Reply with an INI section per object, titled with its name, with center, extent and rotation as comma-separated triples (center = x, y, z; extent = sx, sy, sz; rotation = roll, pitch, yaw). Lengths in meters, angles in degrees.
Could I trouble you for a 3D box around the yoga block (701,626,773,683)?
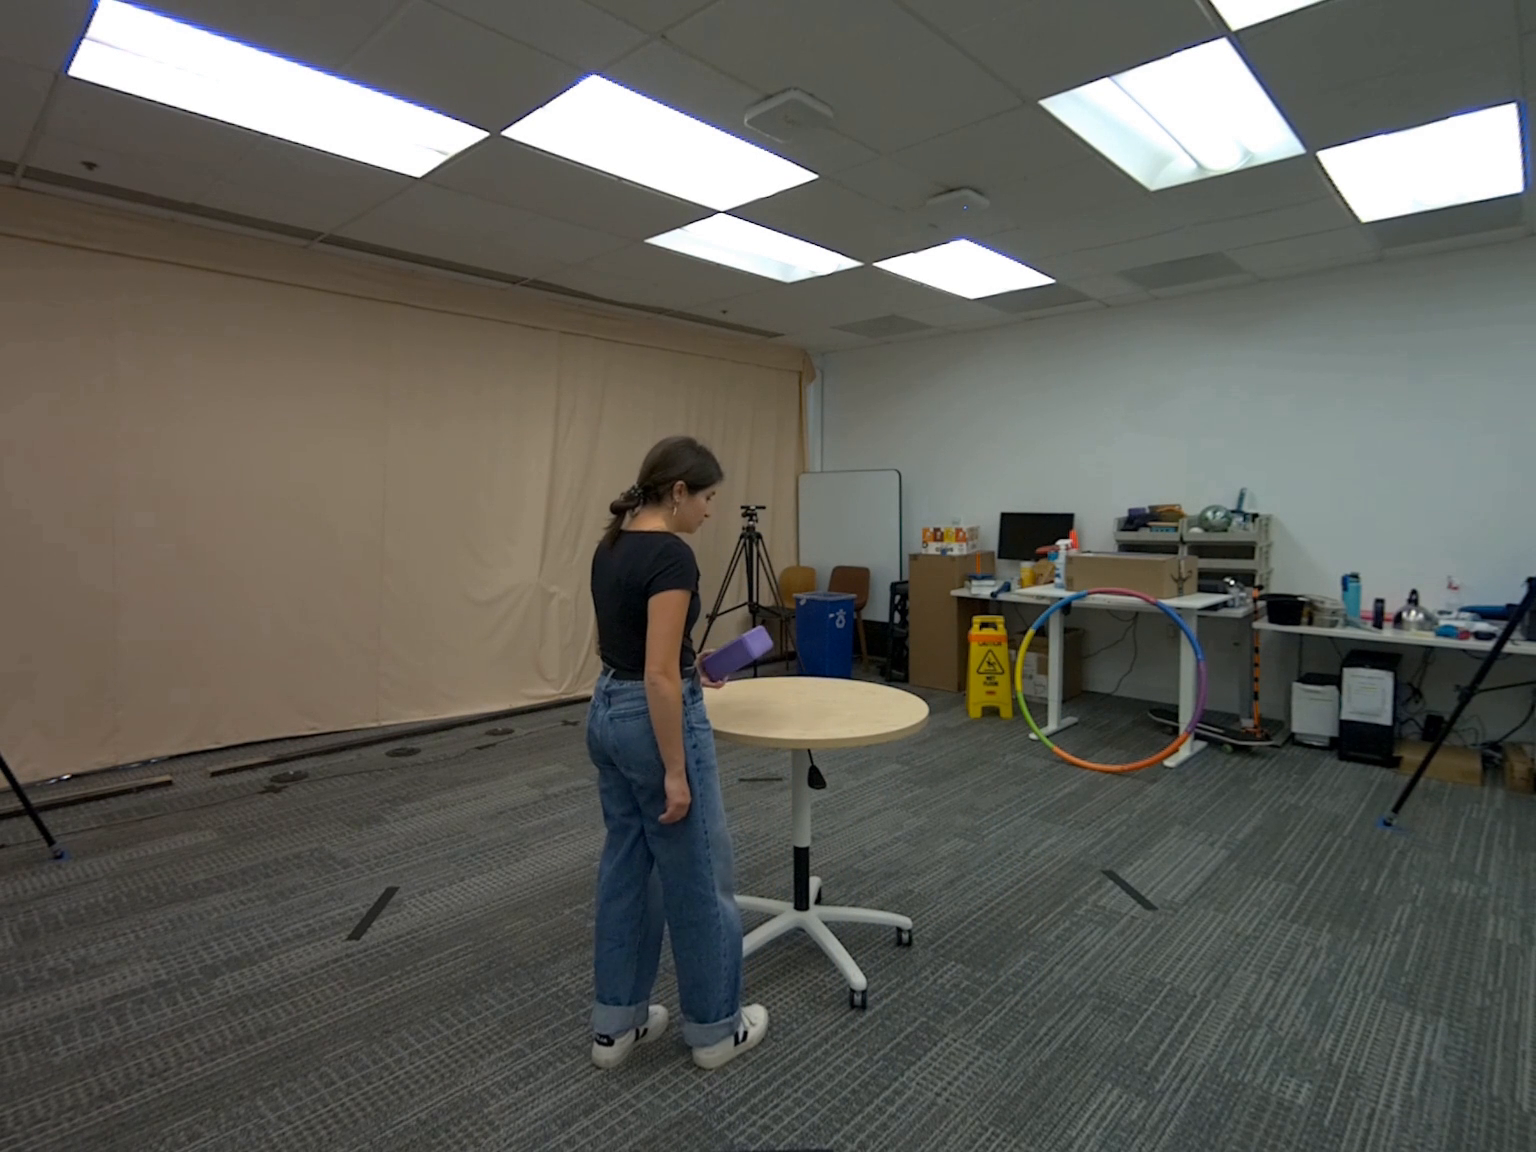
[yoga block]
center = -0.070, 0.229, 2.437
extent = 0.150, 0.077, 0.226
rotation = -32, -2, 15
